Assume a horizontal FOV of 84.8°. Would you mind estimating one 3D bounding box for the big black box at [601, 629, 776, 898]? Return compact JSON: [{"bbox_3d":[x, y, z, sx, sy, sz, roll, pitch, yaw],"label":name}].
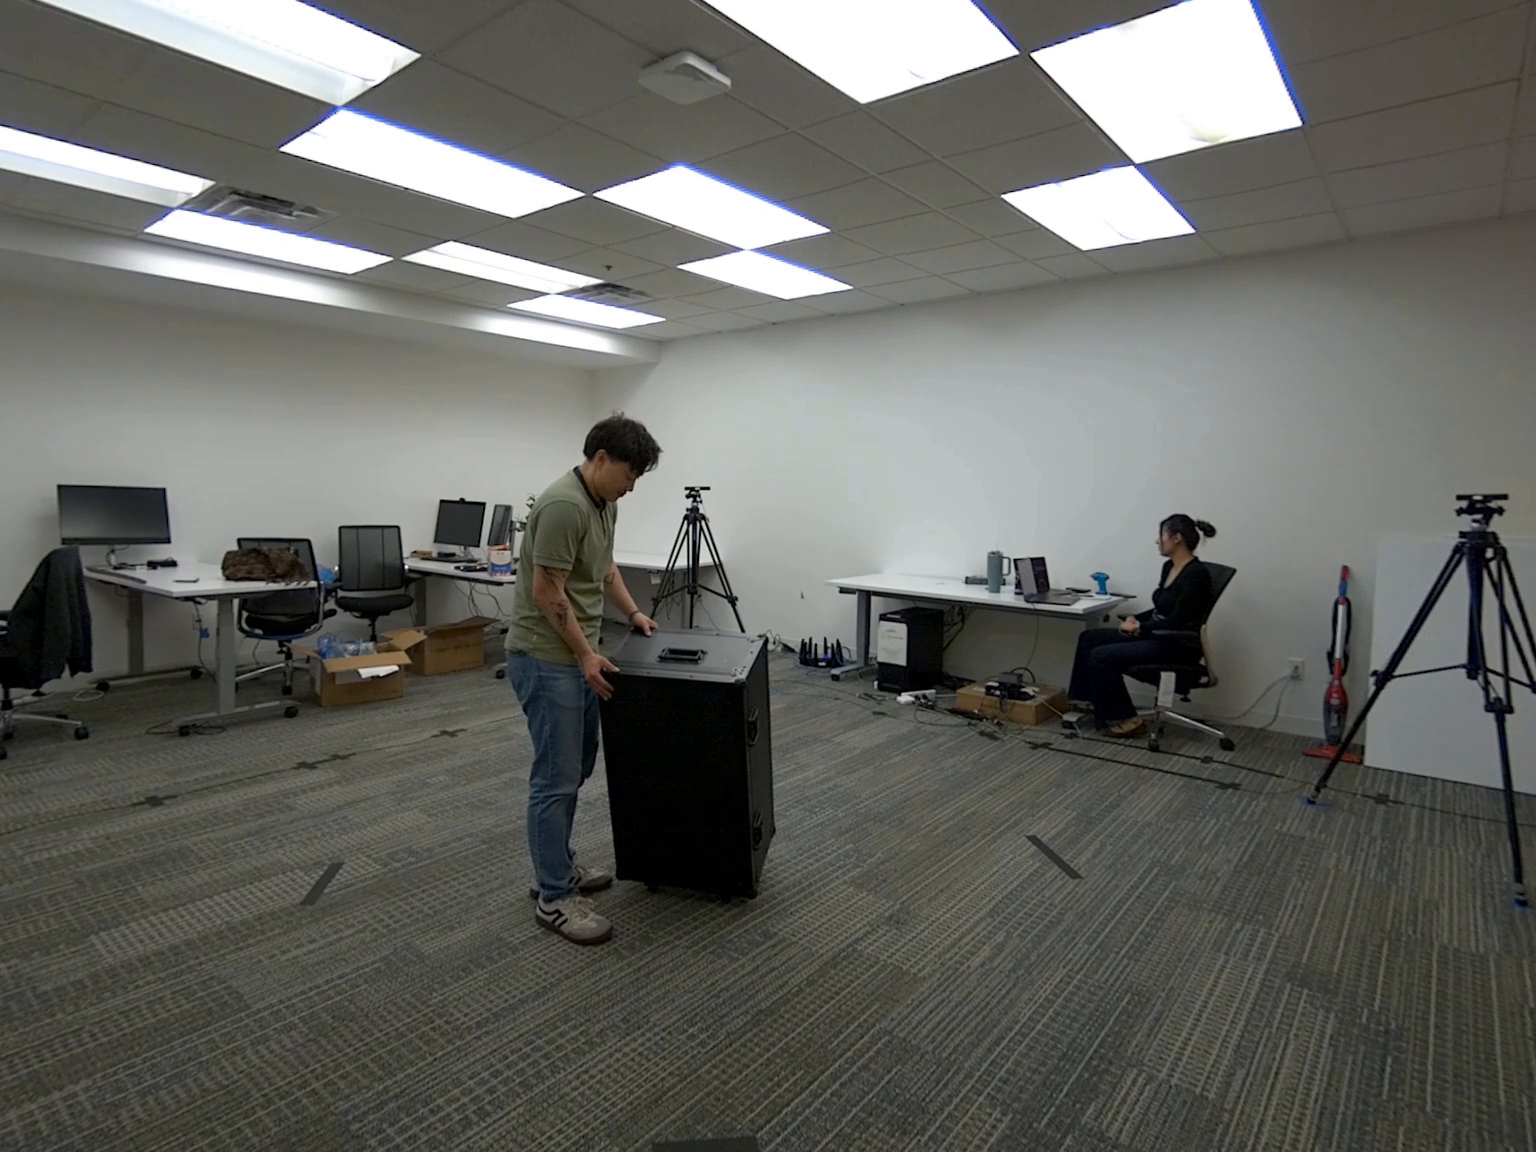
[{"bbox_3d":[-0.269,0.646,2.896,0.530,0.847,0.396,2,18,15],"label":"big black box"}]
